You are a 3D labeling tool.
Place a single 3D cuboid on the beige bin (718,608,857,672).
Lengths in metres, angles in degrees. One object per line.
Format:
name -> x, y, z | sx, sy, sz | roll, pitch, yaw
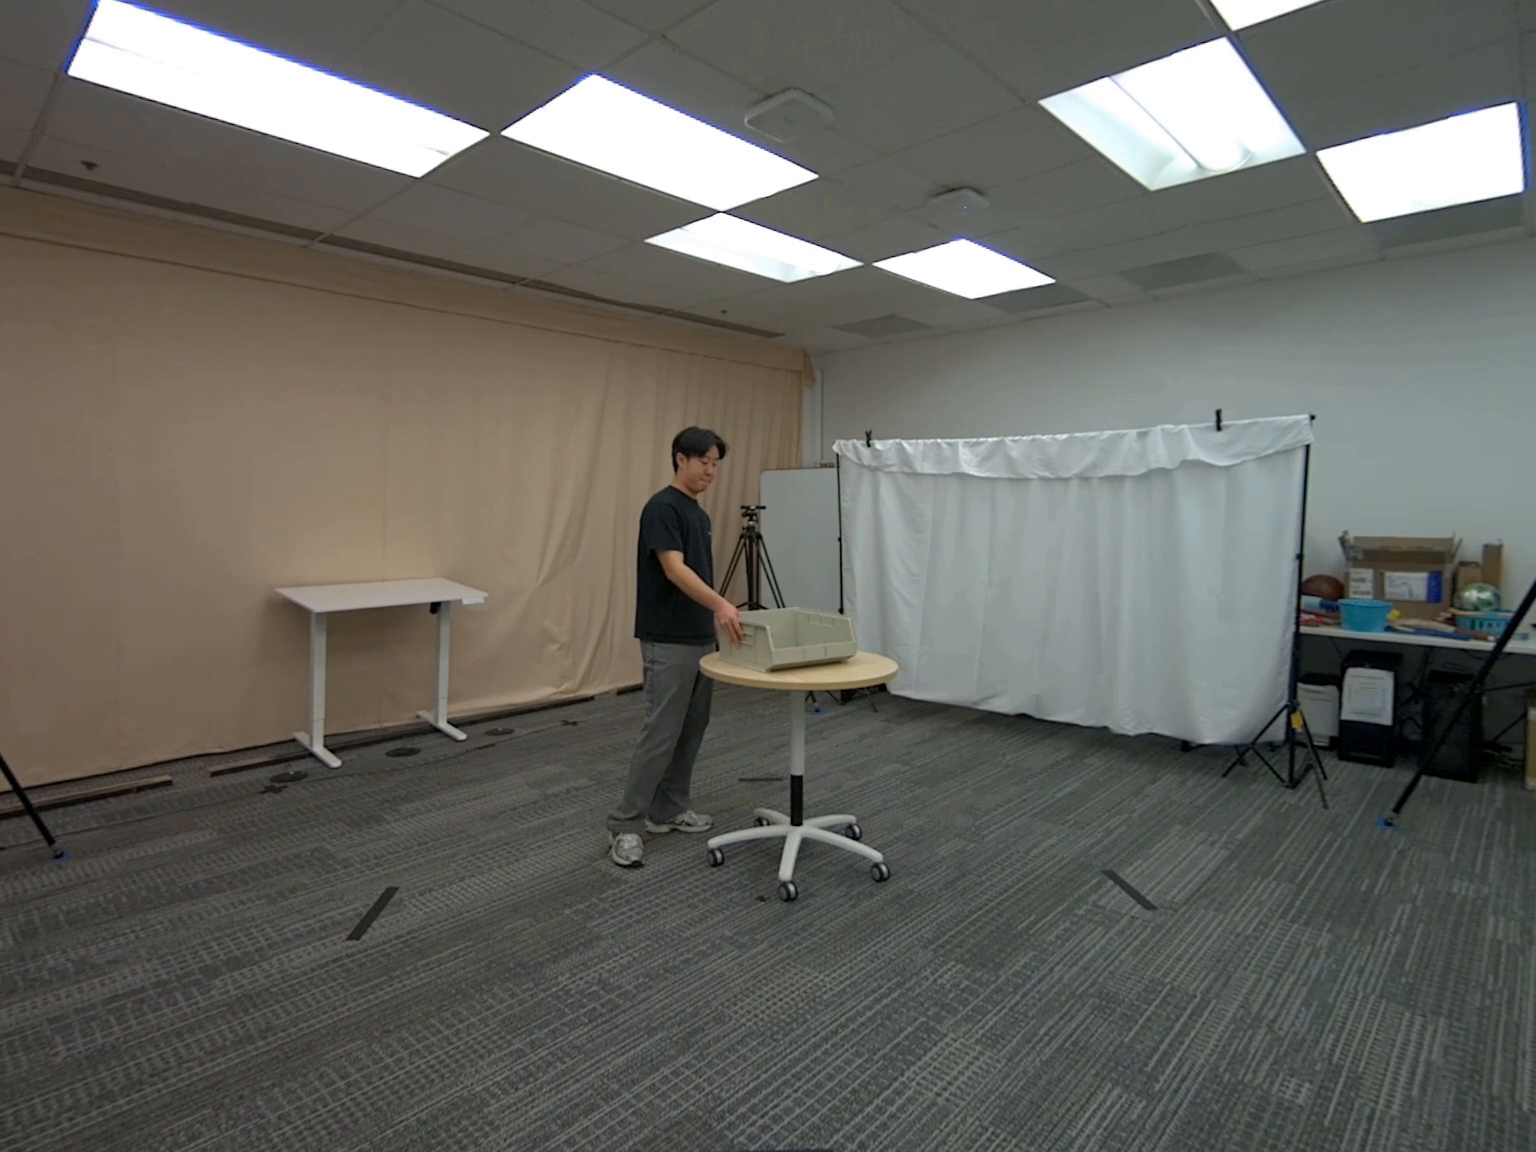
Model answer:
beige bin -> 0.068, 0.243, 3.285 | 0.410, 0.188, 0.389 | -4, 5, -36
